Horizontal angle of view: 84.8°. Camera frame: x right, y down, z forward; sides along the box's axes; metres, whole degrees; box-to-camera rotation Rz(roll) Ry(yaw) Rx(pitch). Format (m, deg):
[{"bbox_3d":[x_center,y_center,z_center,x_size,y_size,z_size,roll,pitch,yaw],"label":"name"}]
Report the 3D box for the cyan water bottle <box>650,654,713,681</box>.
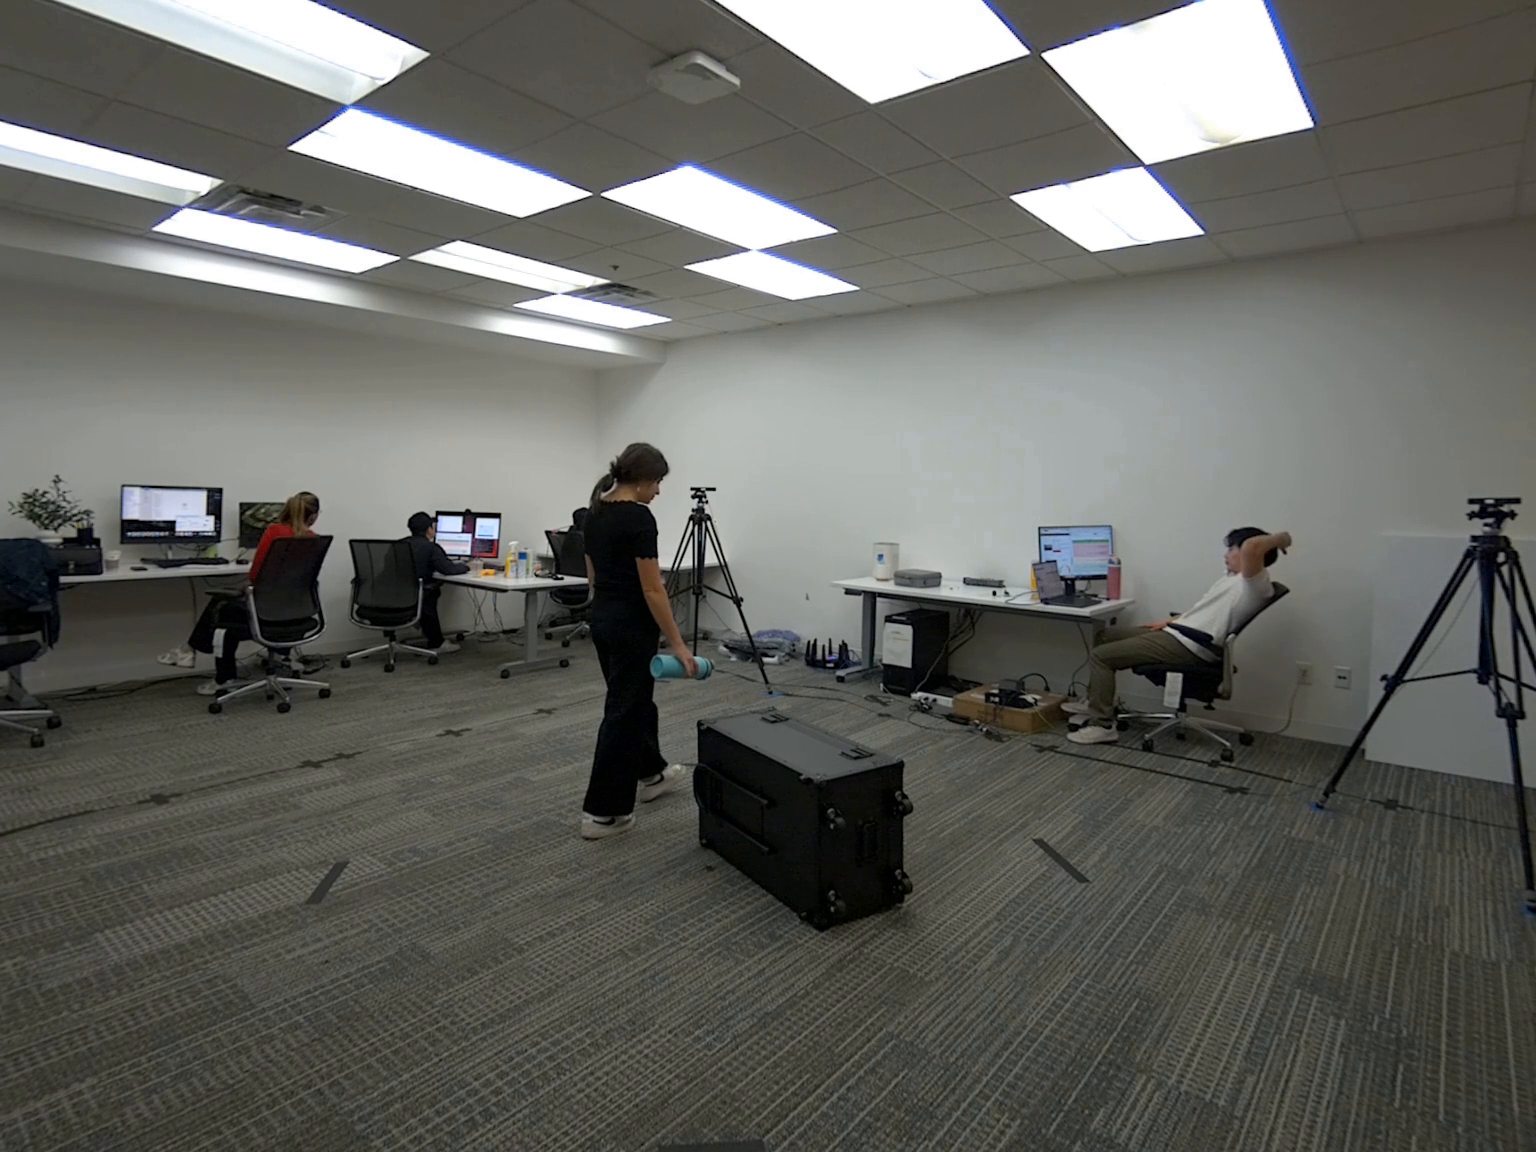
[{"bbox_3d":[-0.354,0.367,3.396,0.273,0.092,0.095,8,-1,-40],"label":"cyan water bottle"}]
